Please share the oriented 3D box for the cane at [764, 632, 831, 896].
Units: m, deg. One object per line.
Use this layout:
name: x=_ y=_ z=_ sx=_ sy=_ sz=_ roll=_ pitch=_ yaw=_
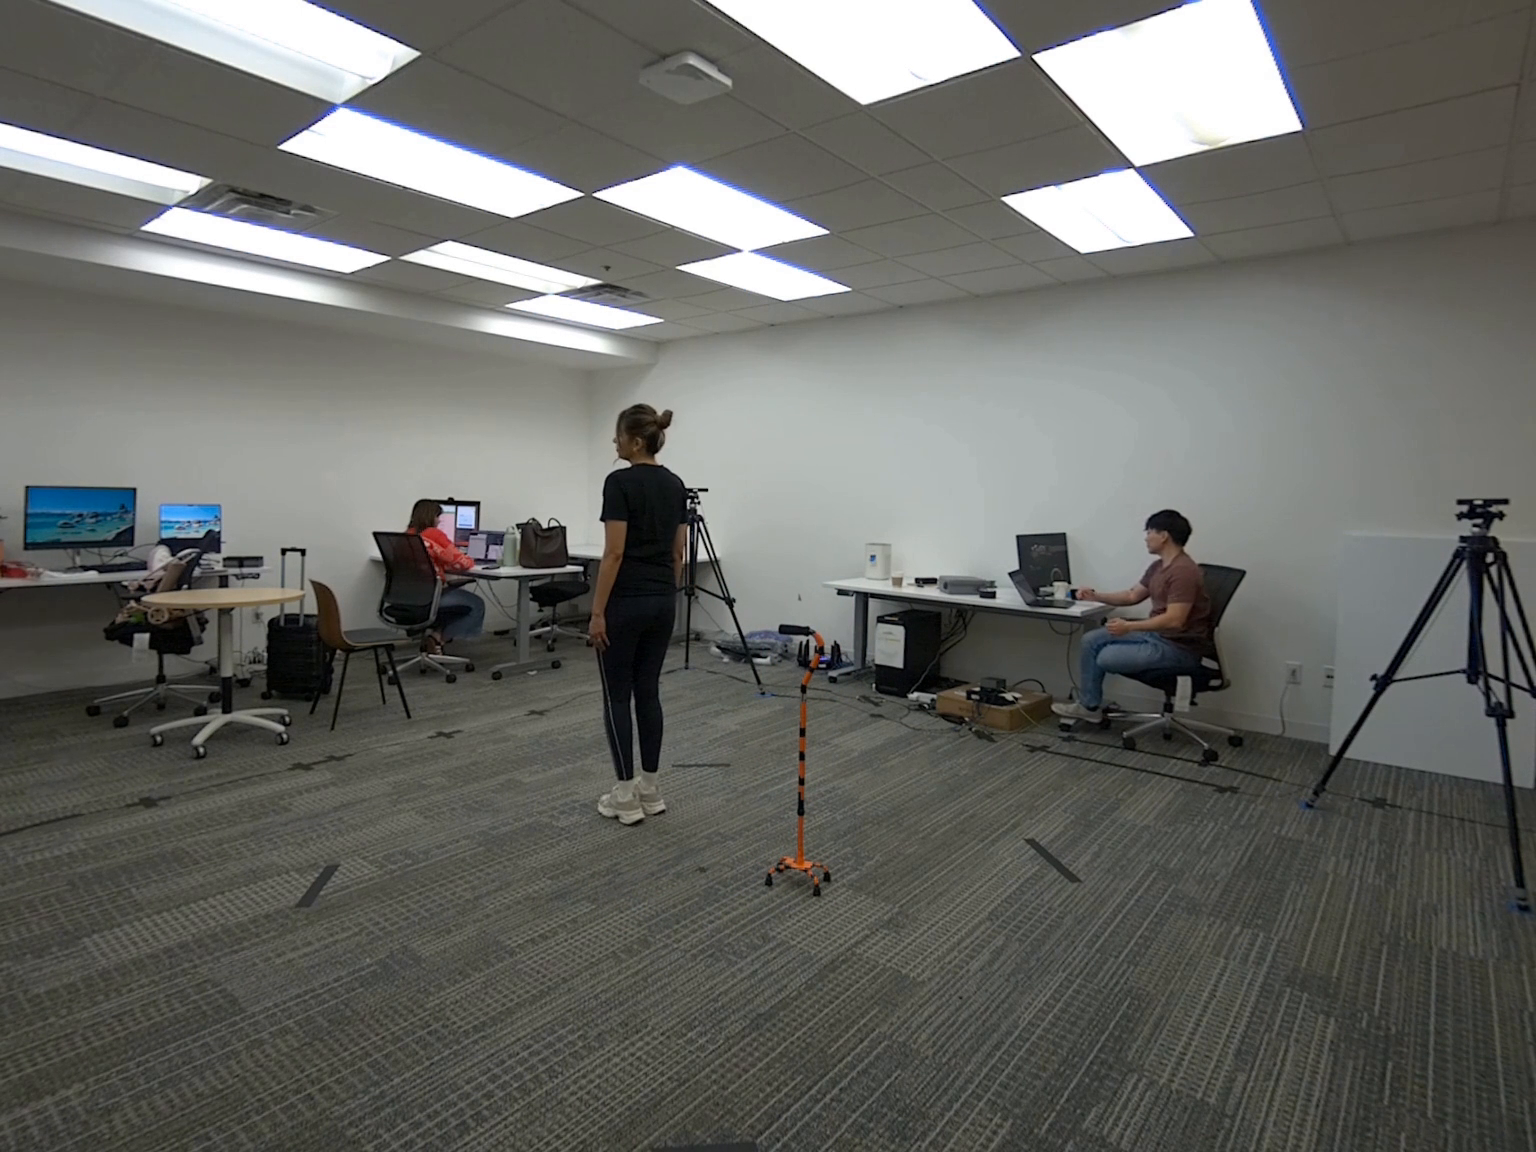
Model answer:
cane: x=0.110 y=0.629 z=2.999 sx=0.210 sy=0.905 sz=0.149 roll=3 pitch=3 yaw=18
